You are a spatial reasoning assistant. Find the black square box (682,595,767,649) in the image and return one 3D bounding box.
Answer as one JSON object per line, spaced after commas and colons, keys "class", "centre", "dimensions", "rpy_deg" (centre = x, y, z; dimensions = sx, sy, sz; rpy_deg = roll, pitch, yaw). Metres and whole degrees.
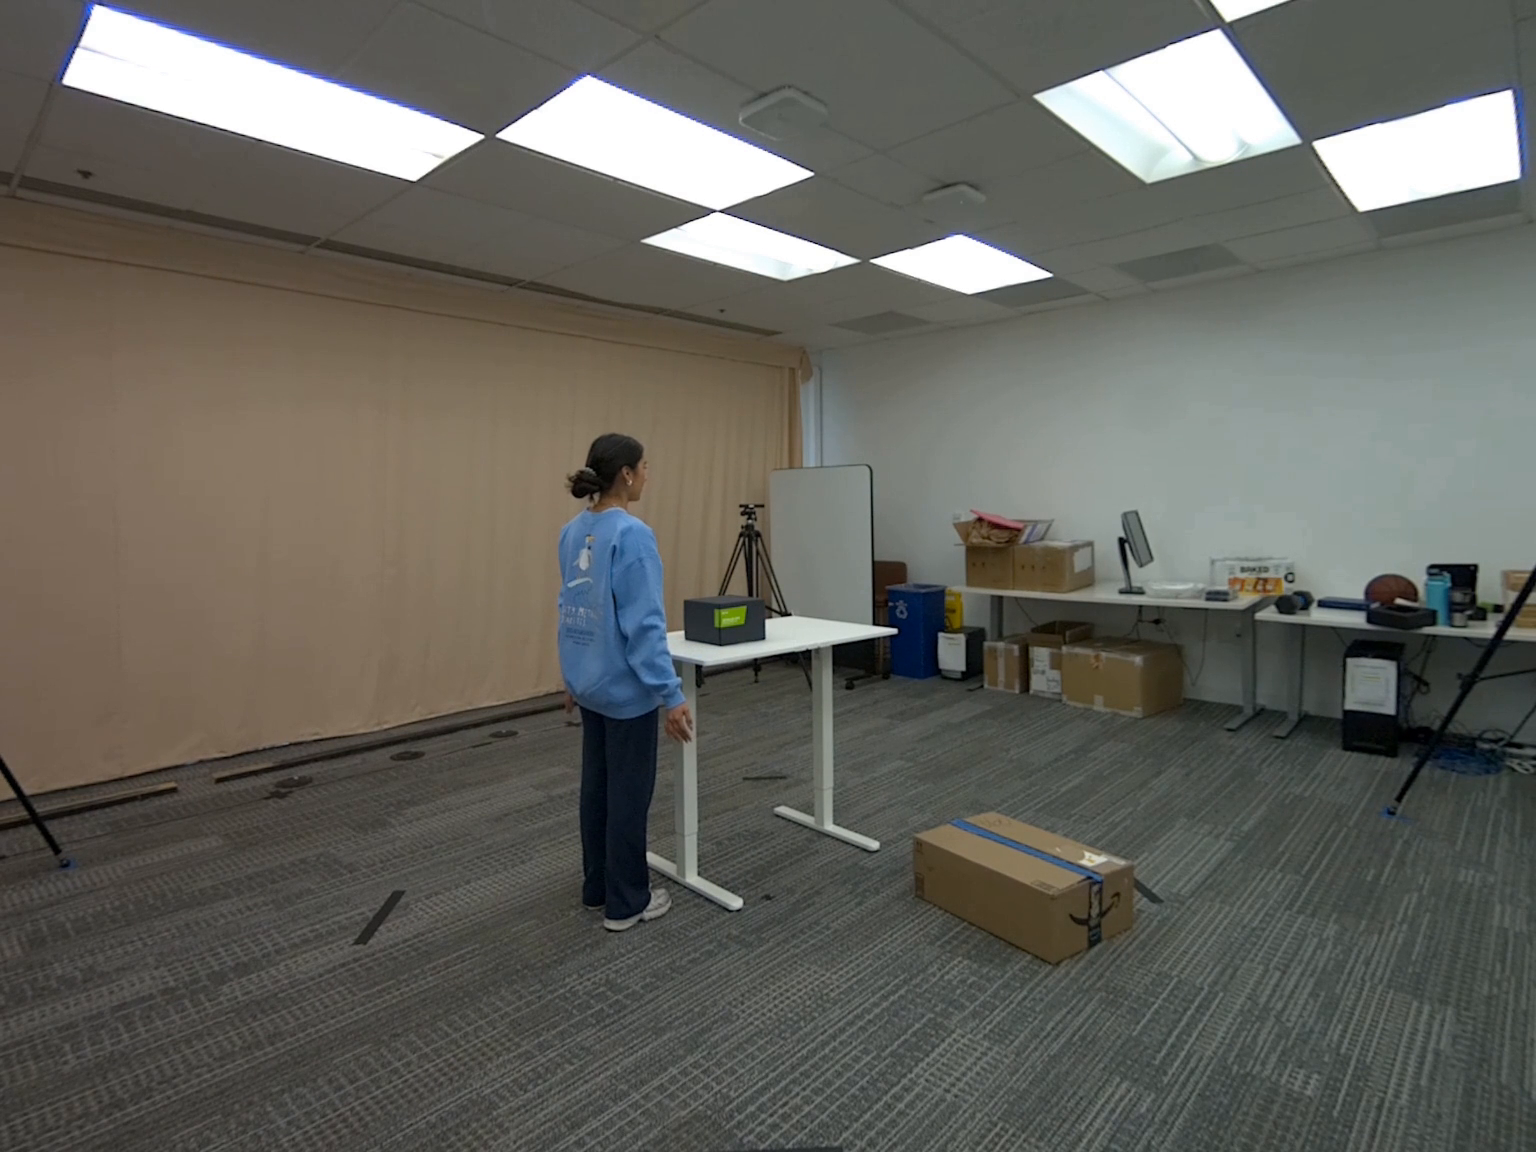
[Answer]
{"class": "black square box", "centre": [-0.165, 0.166, 3.187], "dimensions": [0.221, 0.155, 0.224], "rpy_deg": [-4, 6, -41]}
